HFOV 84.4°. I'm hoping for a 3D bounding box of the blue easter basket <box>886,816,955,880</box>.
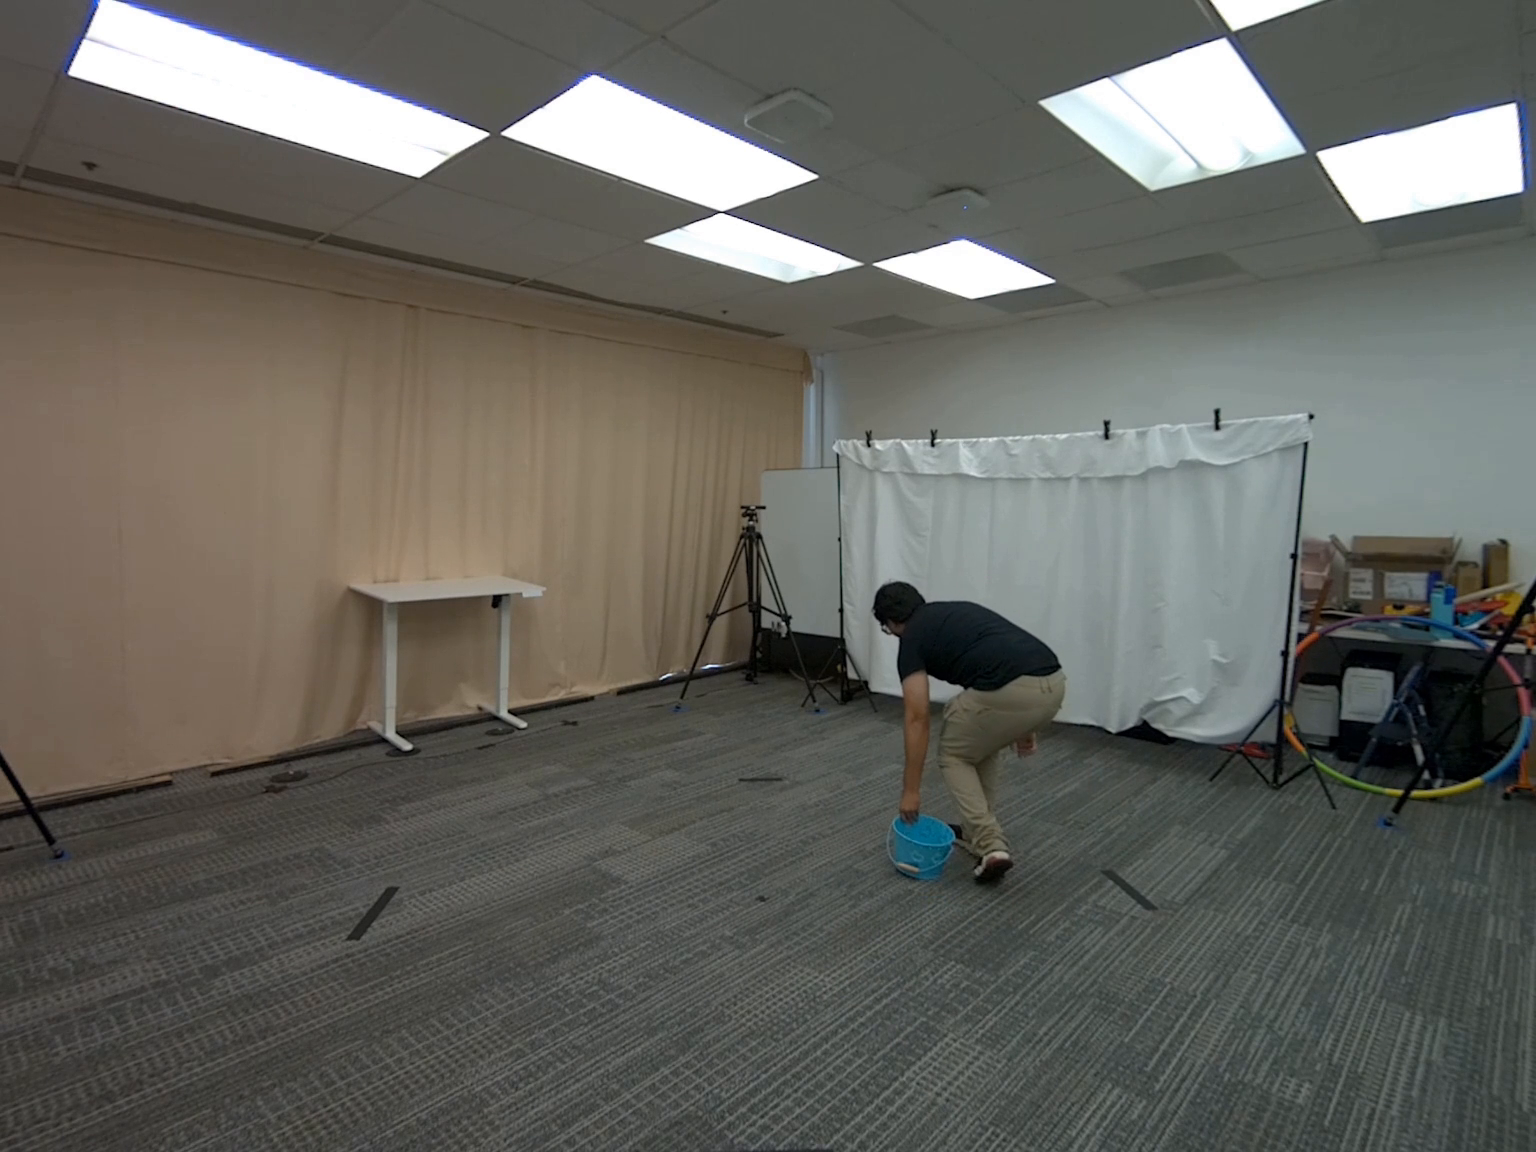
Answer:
[{"bbox_3d":[0.586,1.041,3.201,0.243,0.155,0.246,5,12,-3],"label":"blue easter basket"}]
